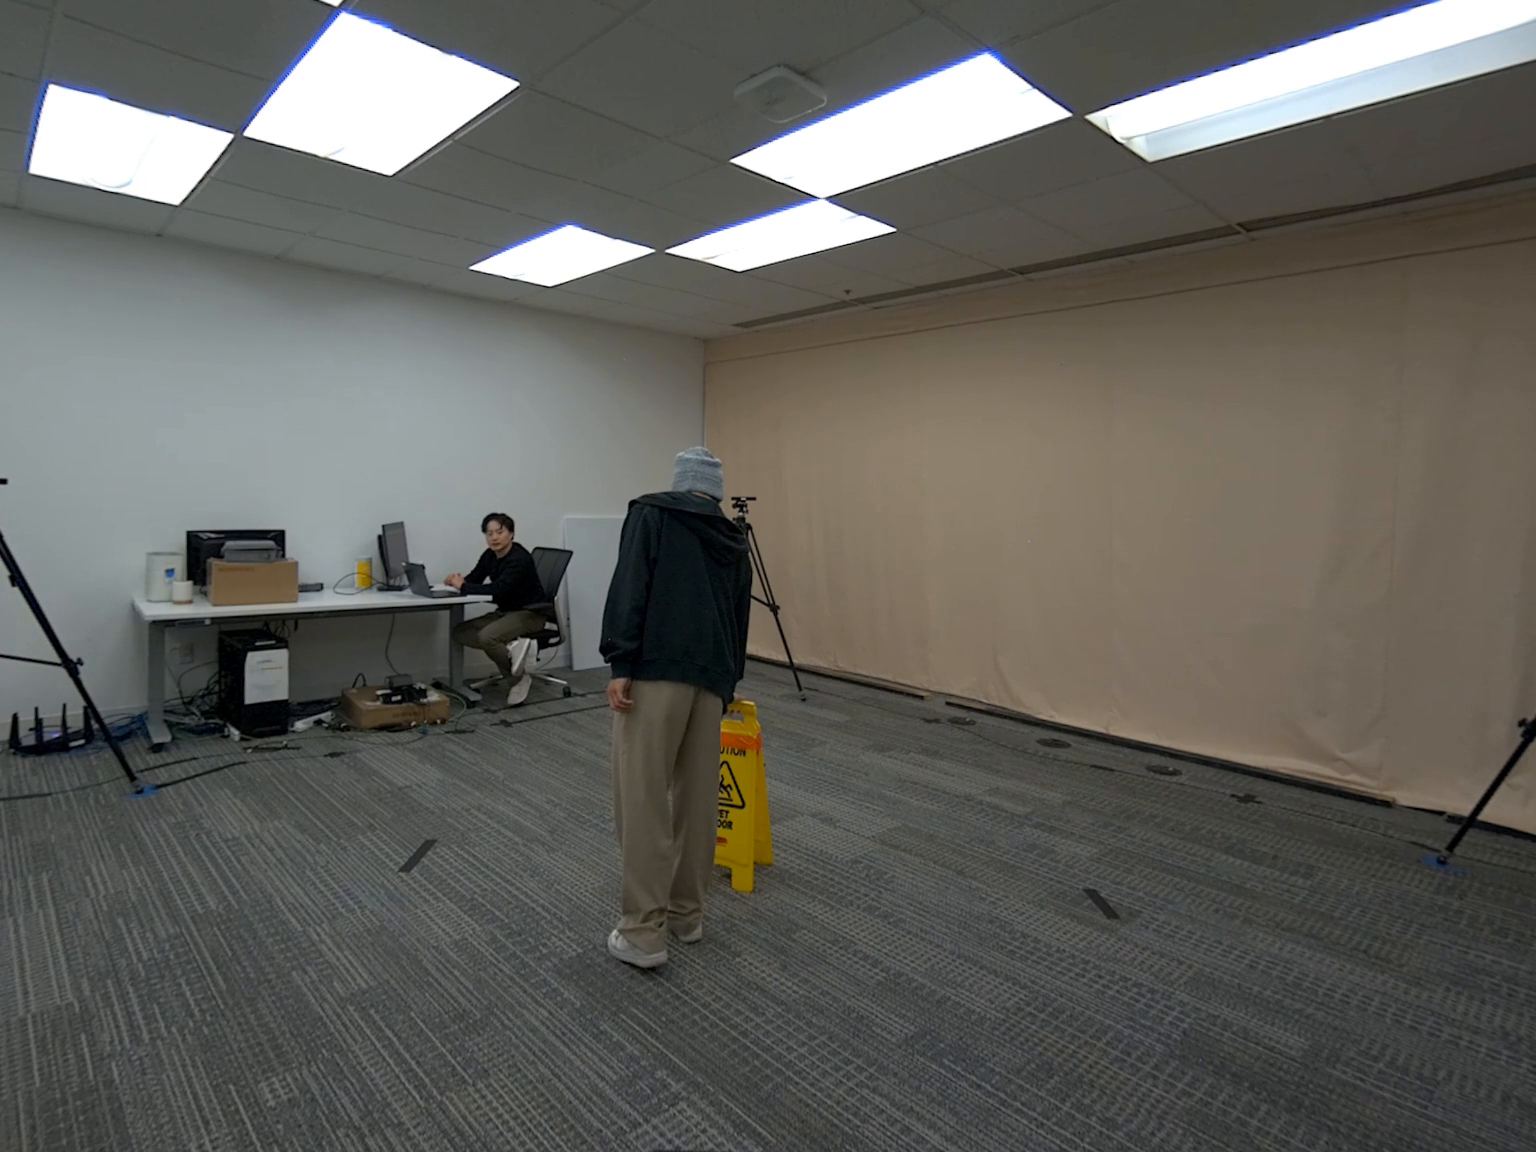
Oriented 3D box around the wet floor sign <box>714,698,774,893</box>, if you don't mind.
[{"bbox_3d":[-0.146,0.778,3.127,0.286,0.645,0.286,3,2,18],"label":"wet floor sign"}]
